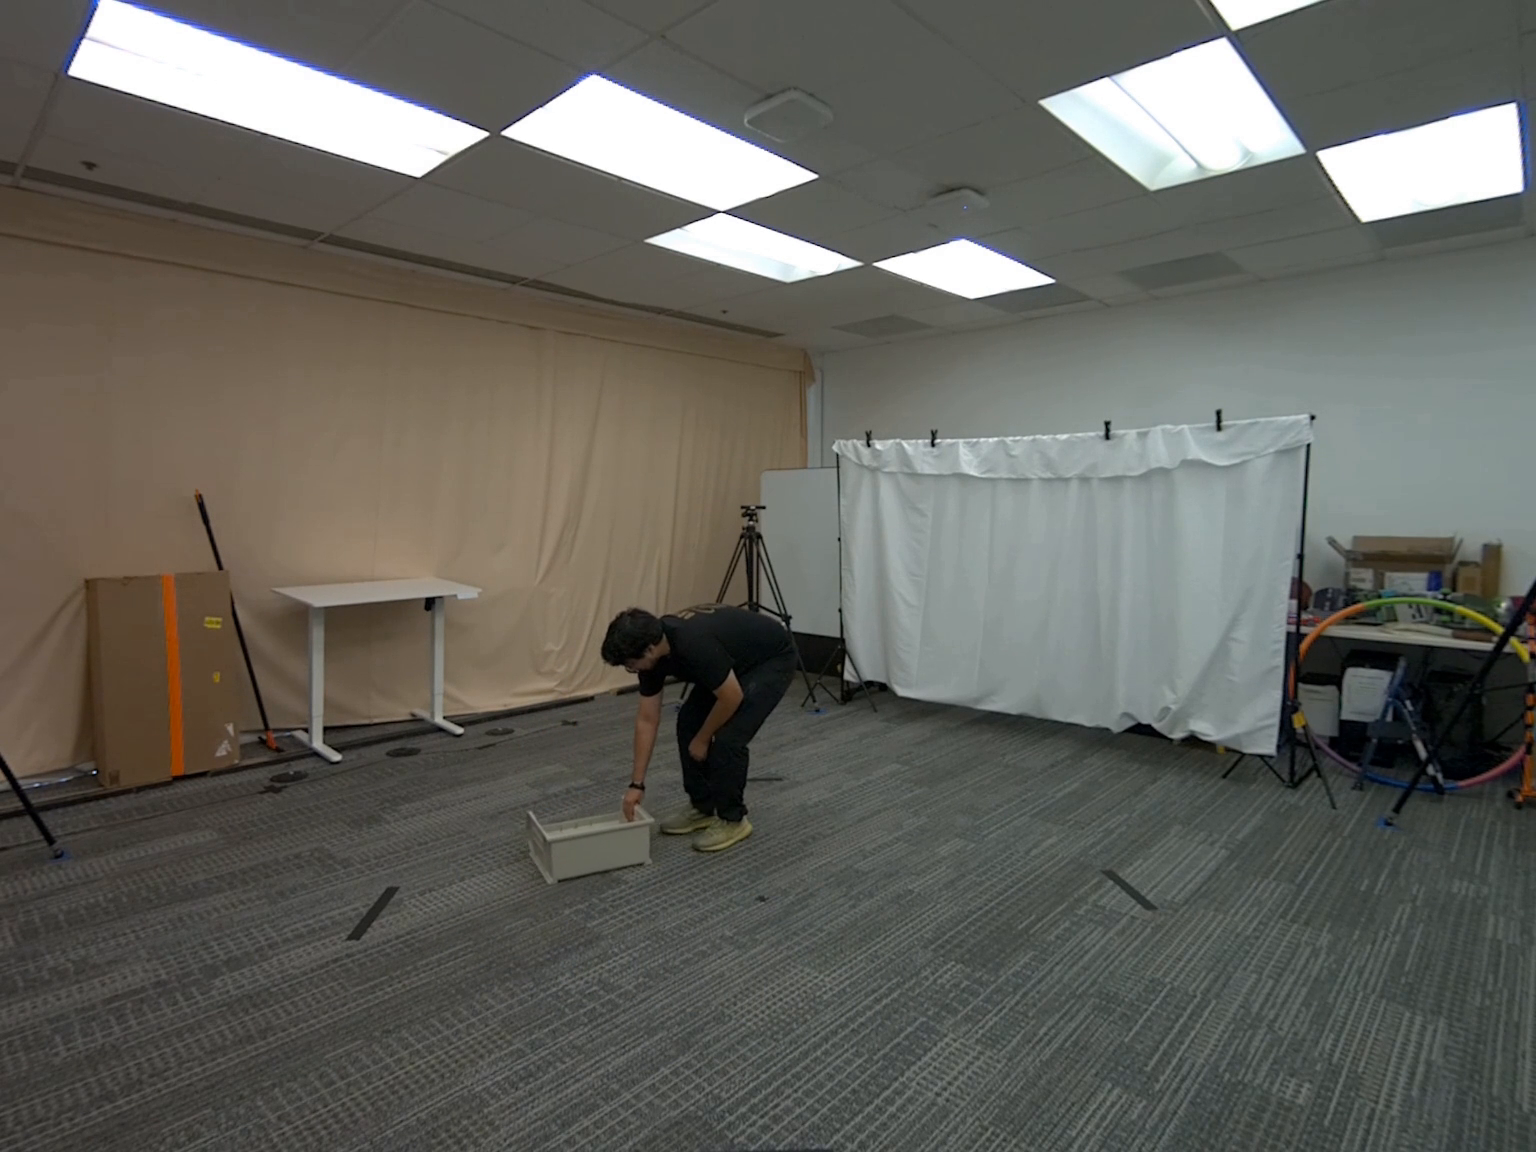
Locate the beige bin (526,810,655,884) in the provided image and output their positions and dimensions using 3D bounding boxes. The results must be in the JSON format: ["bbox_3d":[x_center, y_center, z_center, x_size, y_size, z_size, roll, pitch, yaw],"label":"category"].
[{"bbox_3d":[-0.718,1.028,3.347,0.412,0.188,0.388,-2,6,-28],"label":"beige bin"}]
